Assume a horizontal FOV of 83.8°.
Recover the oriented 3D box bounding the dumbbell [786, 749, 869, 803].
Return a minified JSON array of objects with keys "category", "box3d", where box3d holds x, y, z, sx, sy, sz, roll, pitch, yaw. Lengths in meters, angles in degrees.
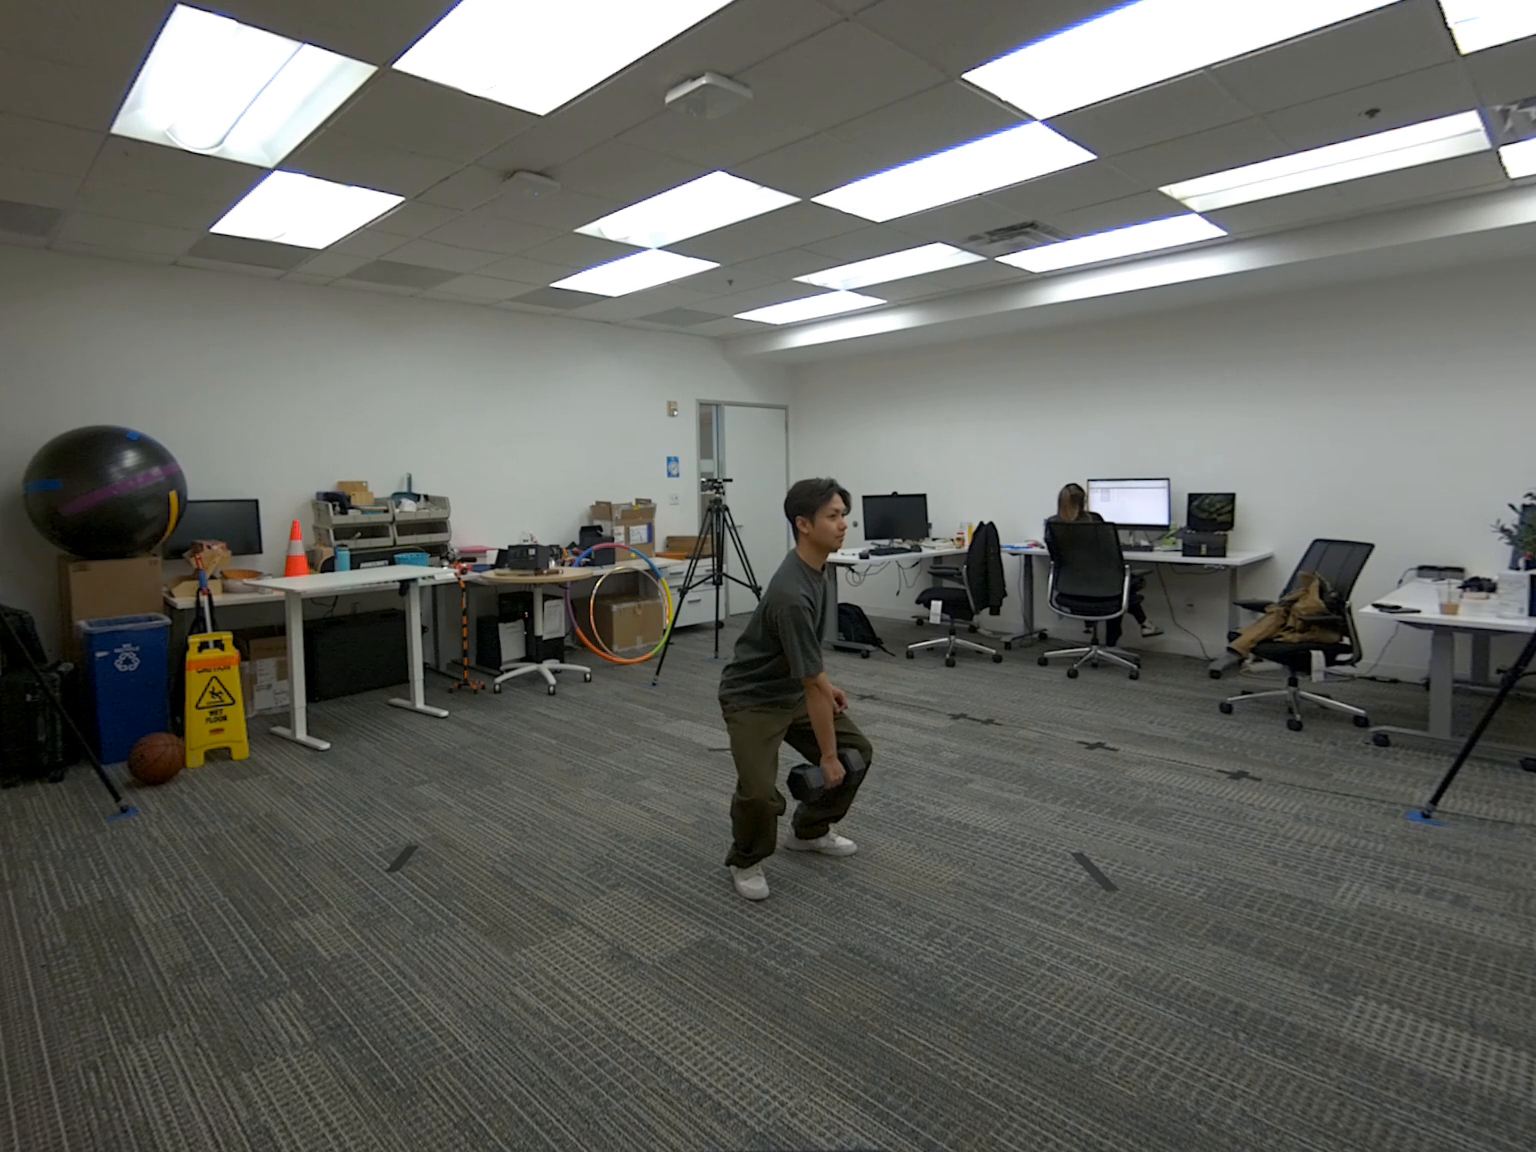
[{"category":"dumbbell","box3d":[0.193,0.667,2.878,0.286,0.121,0.113,-9,35,-44]}]
